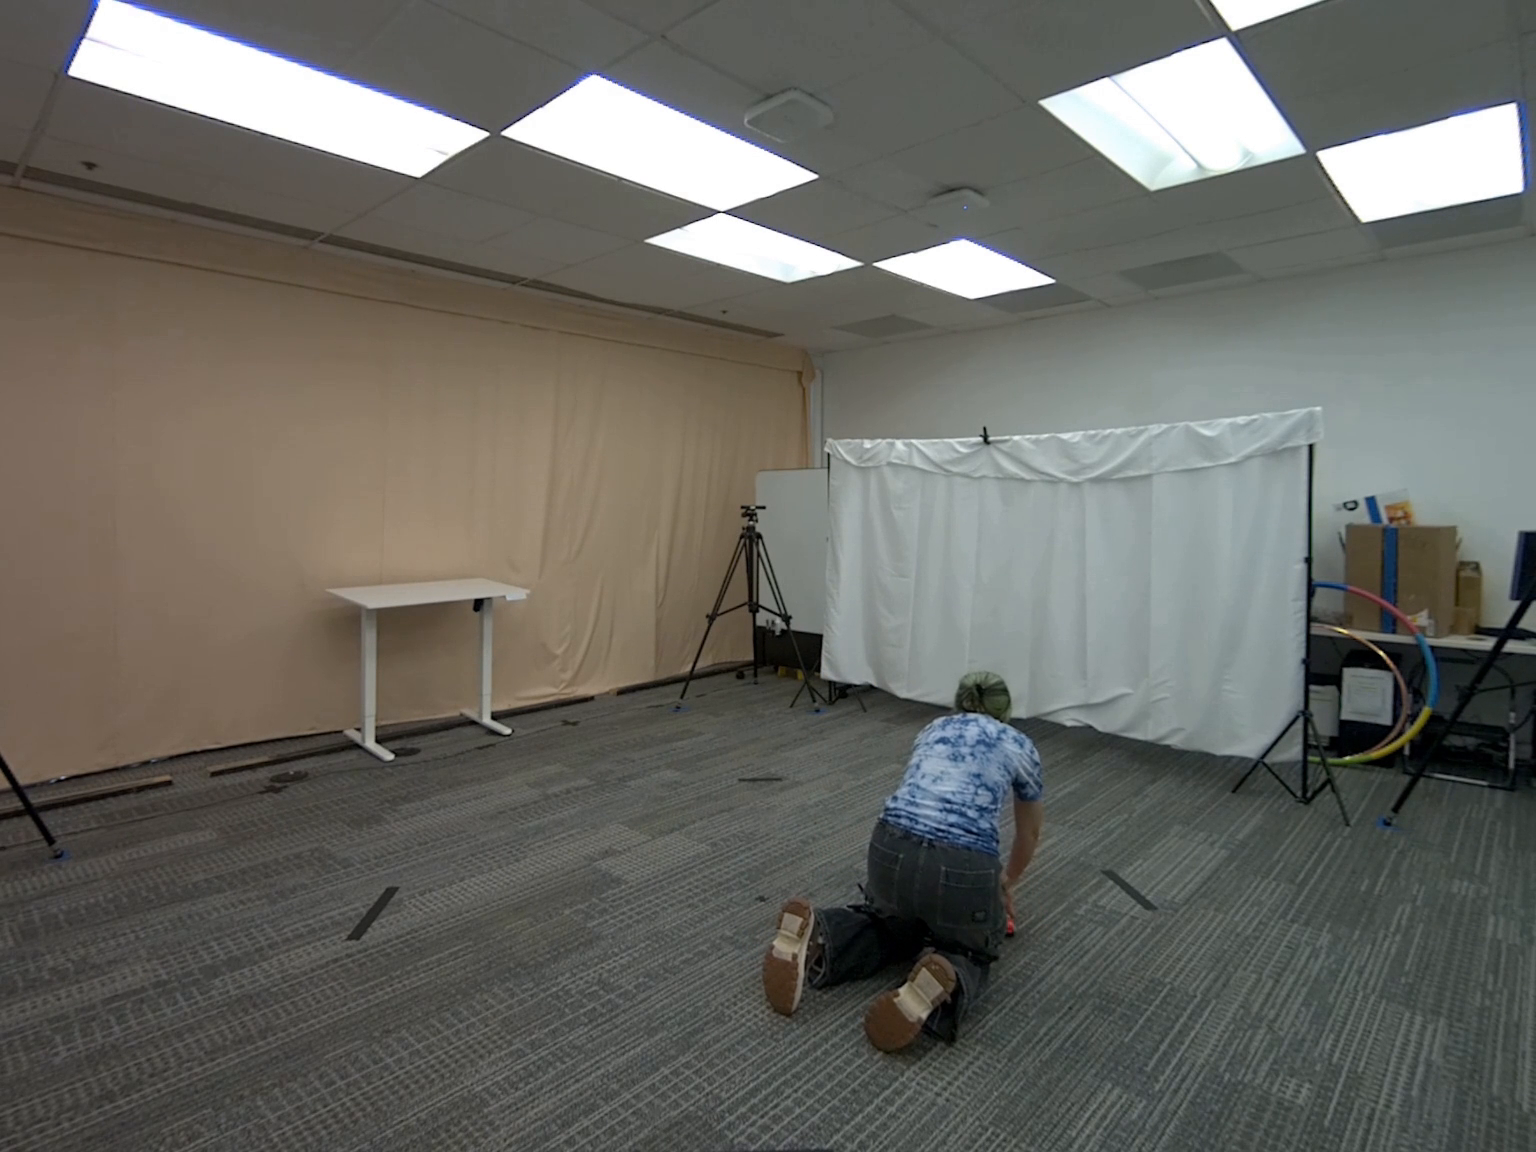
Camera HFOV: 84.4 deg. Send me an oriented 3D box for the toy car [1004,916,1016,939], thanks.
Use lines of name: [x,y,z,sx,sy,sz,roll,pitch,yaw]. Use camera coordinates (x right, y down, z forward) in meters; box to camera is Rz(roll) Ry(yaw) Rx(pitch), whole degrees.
toy car: [0.768,1.127,2.827,0.132,0.082,0.255,2,18,8]
